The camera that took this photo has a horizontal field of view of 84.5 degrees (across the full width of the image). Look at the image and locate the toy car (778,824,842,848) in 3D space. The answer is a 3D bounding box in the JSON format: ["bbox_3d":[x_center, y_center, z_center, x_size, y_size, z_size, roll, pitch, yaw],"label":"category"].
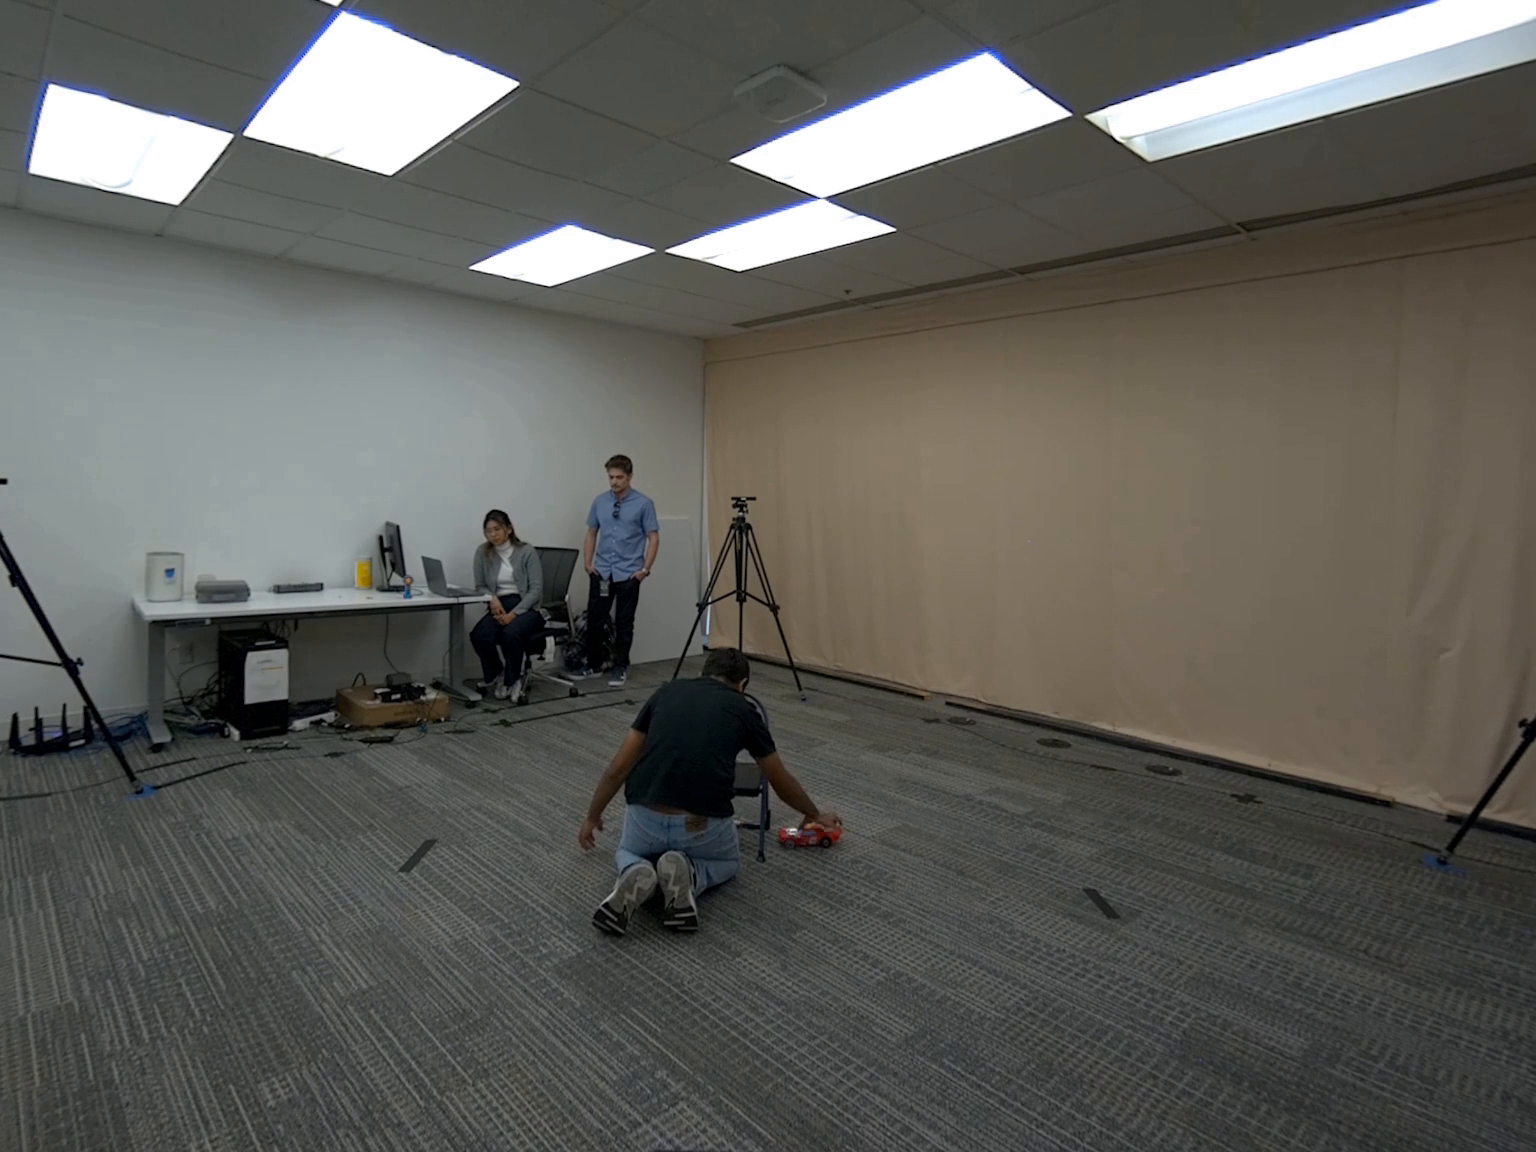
[{"bbox_3d":[0.176,1.053,3.415,0.253,0.083,0.131,-11,6,-6],"label":"toy car"}]
